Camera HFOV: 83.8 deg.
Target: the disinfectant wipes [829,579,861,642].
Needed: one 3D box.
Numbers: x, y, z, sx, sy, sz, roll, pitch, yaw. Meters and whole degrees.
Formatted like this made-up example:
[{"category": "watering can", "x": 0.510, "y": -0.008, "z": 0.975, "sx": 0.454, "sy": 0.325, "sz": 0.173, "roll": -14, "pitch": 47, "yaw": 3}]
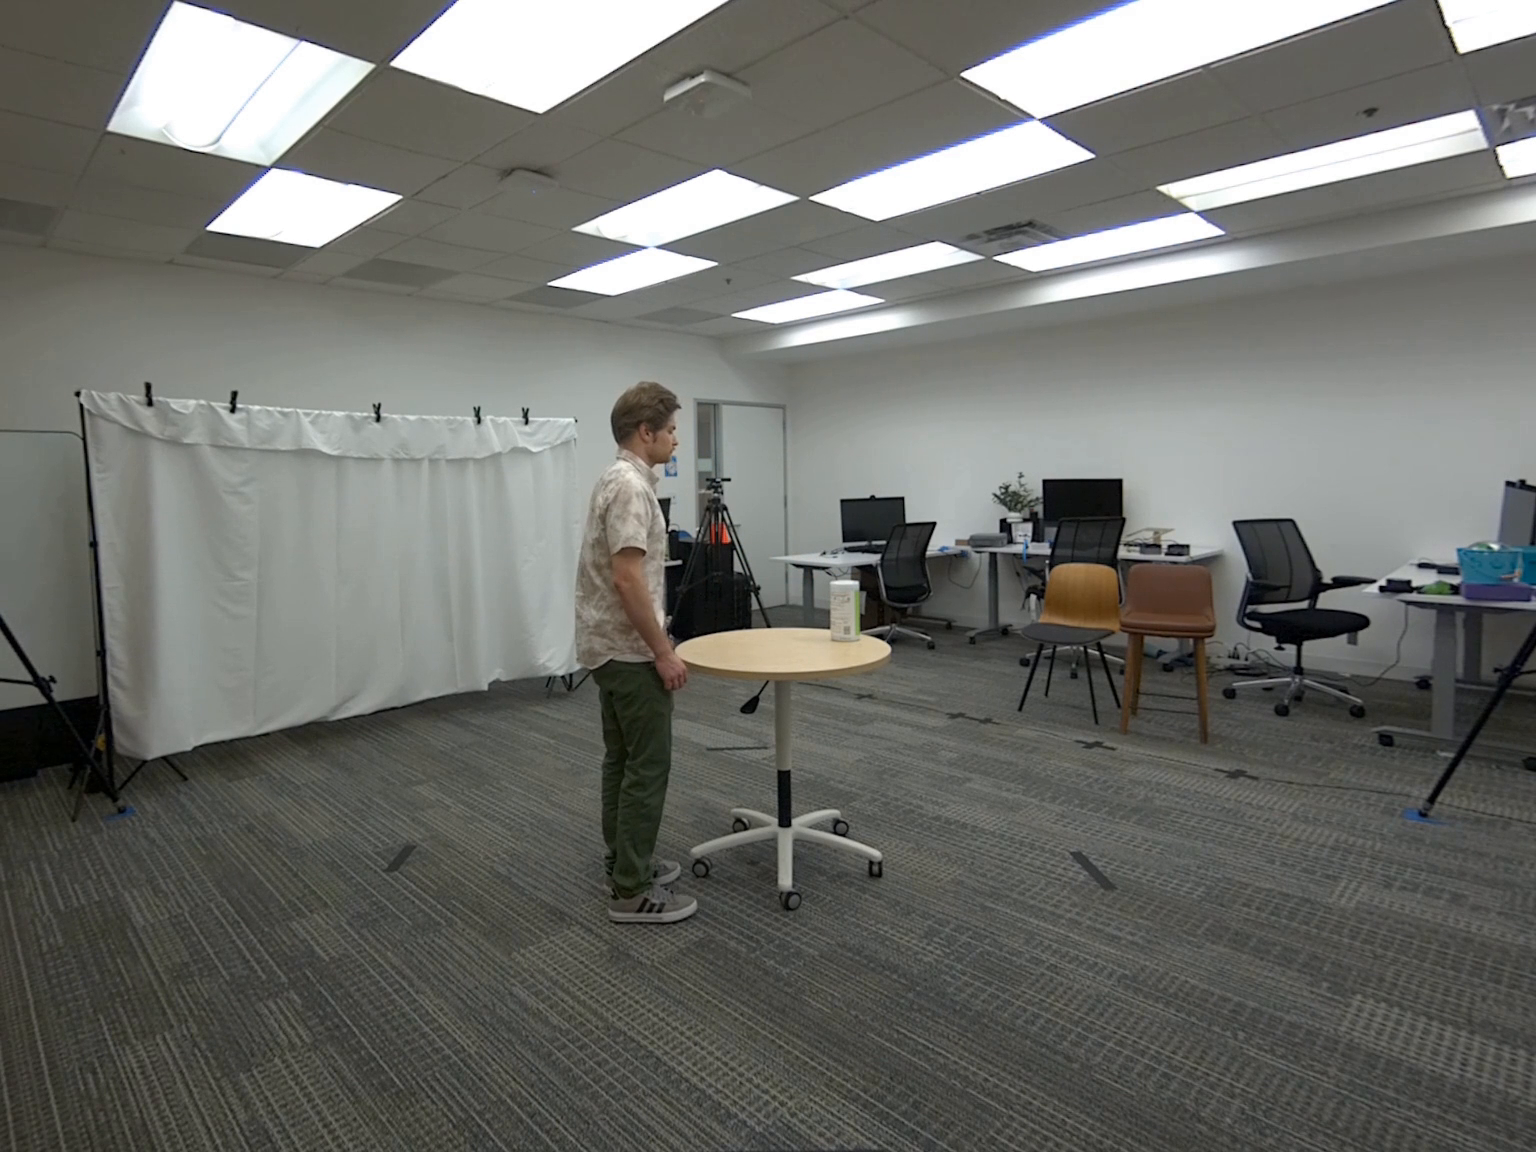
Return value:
[{"category": "disinfectant wipes", "x": 0.287, "y": 0.128, "z": 3.162, "sx": 0.118, "sy": 0.217, "sz": 0.118, "roll": -2, "pitch": 2, "yaw": -2}]
